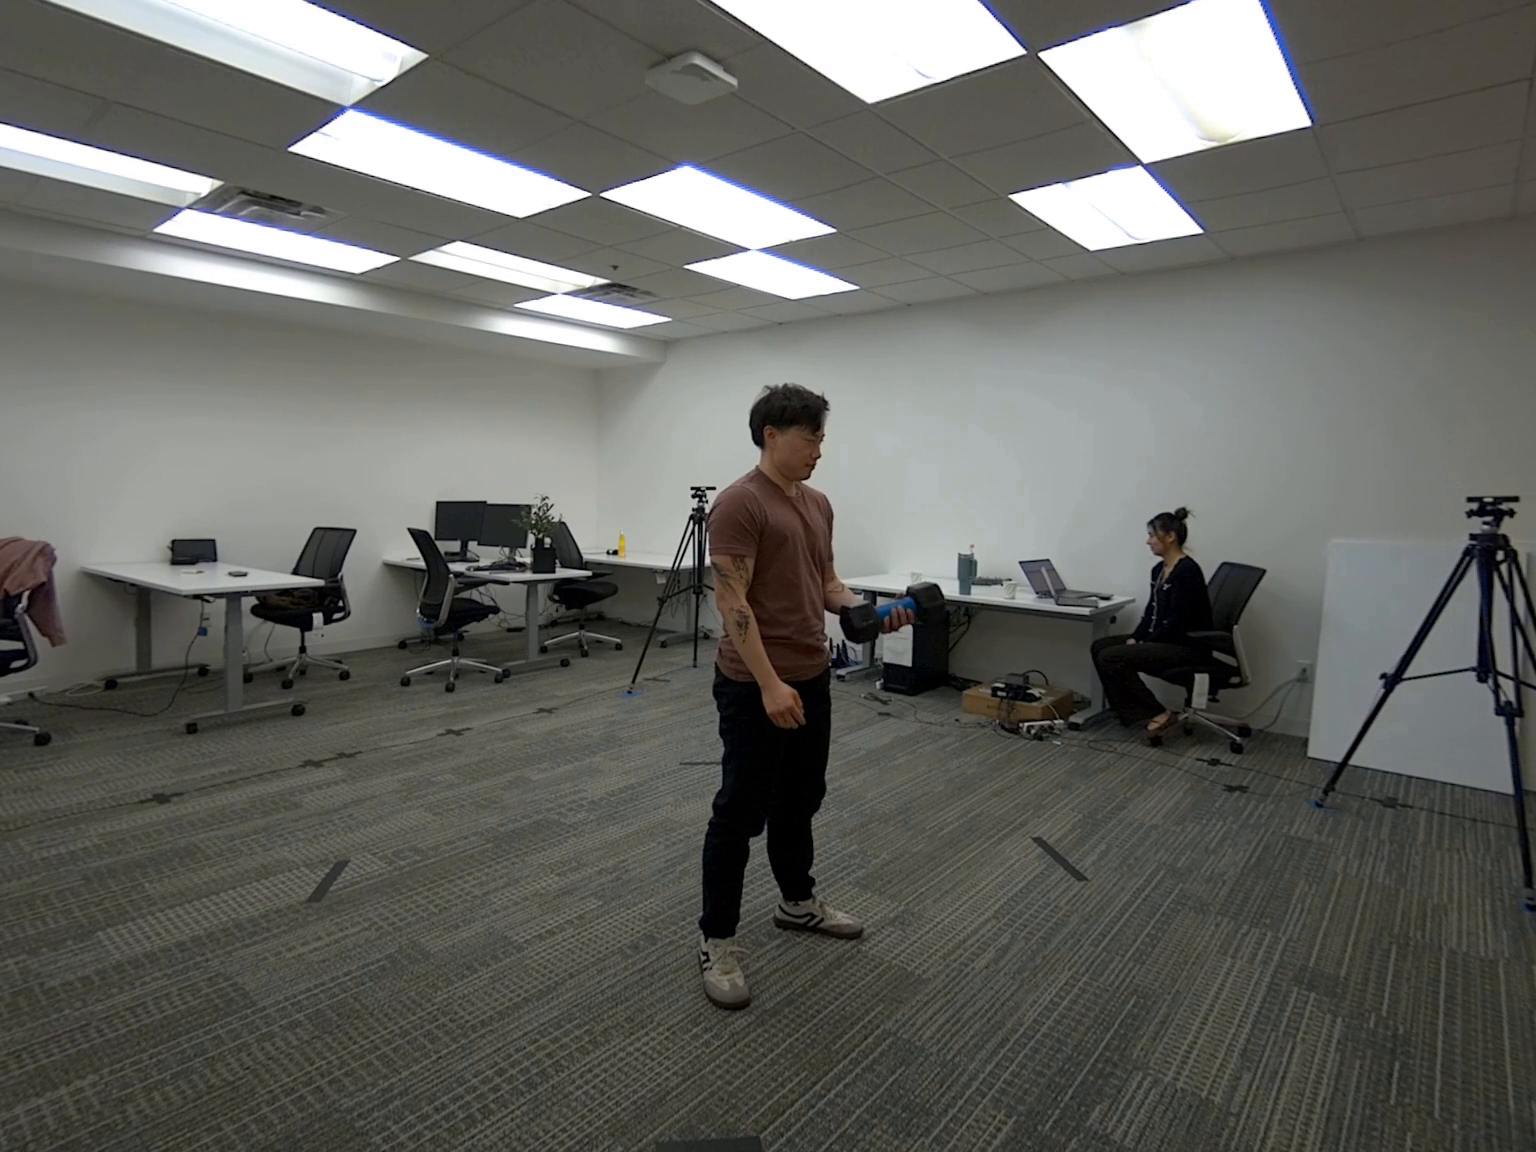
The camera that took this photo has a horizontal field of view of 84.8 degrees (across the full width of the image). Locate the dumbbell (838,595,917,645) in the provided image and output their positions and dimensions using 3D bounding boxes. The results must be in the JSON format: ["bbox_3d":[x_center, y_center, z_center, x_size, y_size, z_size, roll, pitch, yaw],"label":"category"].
[{"bbox_3d":[0.340,0.096,2.384,0.290,0.126,0.107,-13,-22,-14],"label":"dumbbell"}]
